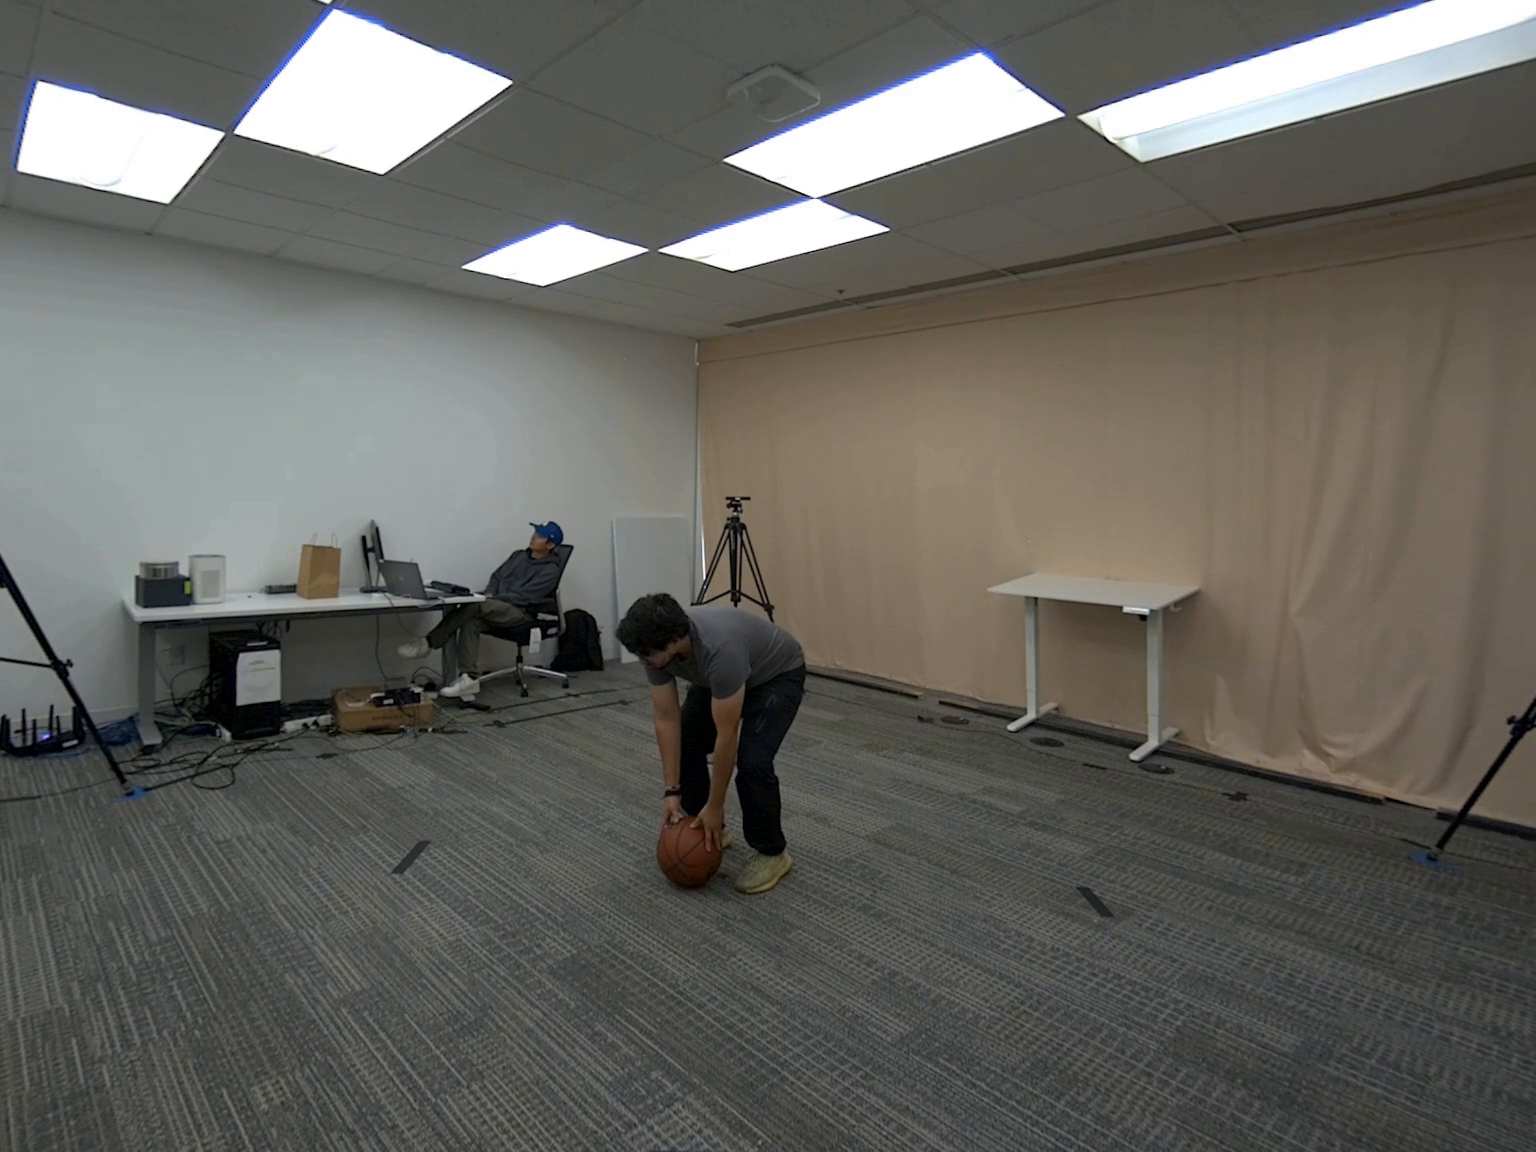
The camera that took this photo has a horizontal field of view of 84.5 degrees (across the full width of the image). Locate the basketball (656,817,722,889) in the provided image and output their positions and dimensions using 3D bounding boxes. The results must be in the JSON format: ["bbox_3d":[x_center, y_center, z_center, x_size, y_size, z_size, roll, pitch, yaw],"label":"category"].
[{"bbox_3d":[-0.289,0.983,3.024,0.236,0.235,0.237,1,4,-1],"label":"basketball"}]
